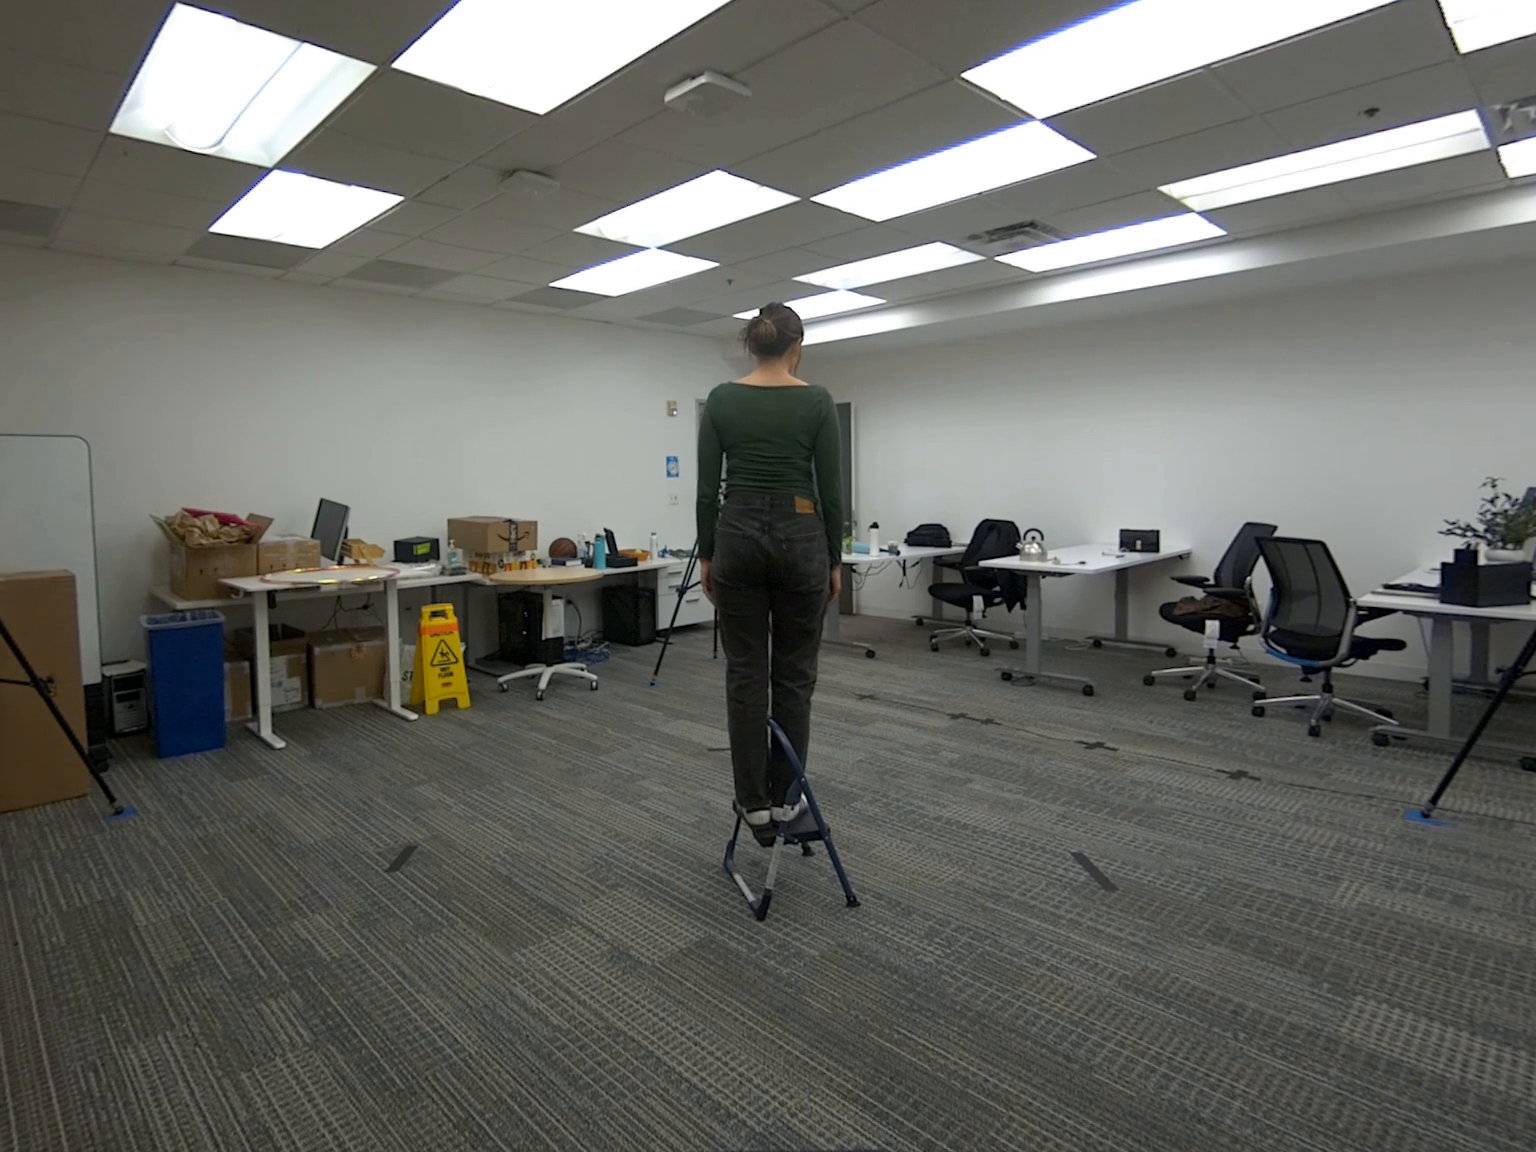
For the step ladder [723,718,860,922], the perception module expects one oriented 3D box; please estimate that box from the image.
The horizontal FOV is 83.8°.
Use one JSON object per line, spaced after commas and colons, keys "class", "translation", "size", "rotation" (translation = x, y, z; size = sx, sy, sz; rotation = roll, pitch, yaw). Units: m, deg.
{"class": "step ladder", "translation": [0.062, 0.763, 2.926], "size": [0.344, 0.604, 0.439], "rotation": [-2, 4, -18]}
